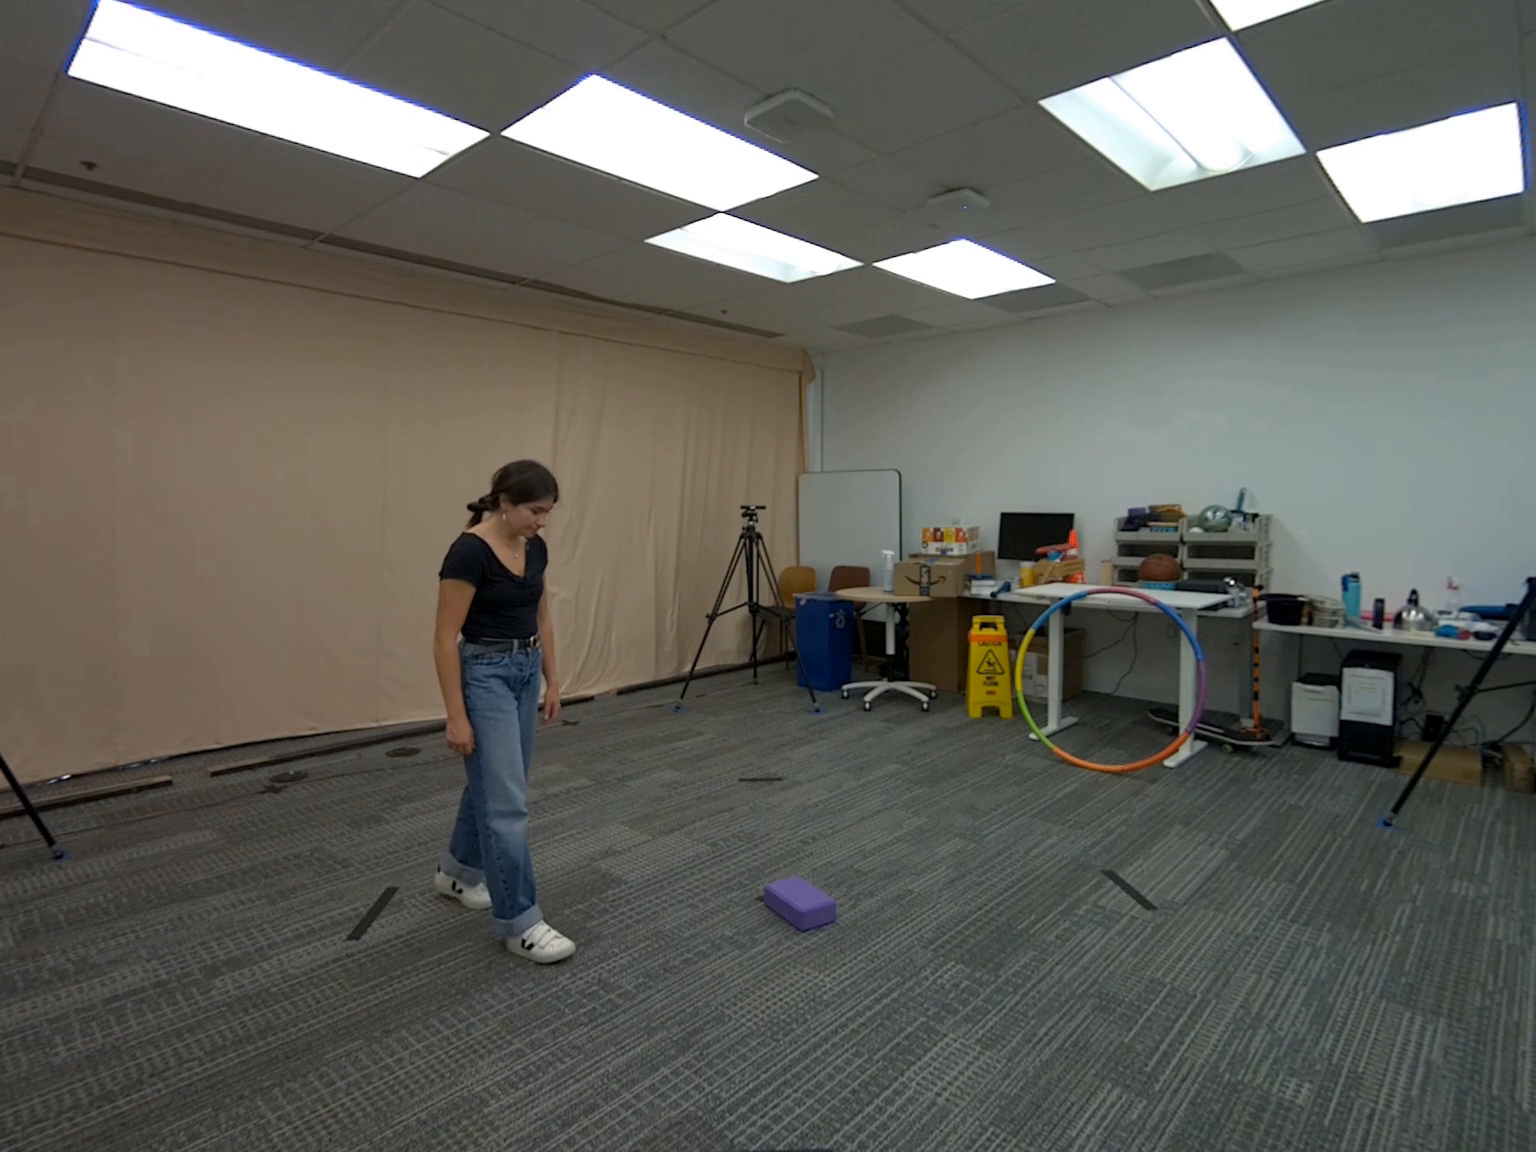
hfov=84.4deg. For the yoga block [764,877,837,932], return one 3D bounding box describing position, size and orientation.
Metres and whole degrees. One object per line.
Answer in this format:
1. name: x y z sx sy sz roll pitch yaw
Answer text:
1. yoga block: 0.120 1.115 2.867 0.145 0.076 0.236 -3 6 -32
